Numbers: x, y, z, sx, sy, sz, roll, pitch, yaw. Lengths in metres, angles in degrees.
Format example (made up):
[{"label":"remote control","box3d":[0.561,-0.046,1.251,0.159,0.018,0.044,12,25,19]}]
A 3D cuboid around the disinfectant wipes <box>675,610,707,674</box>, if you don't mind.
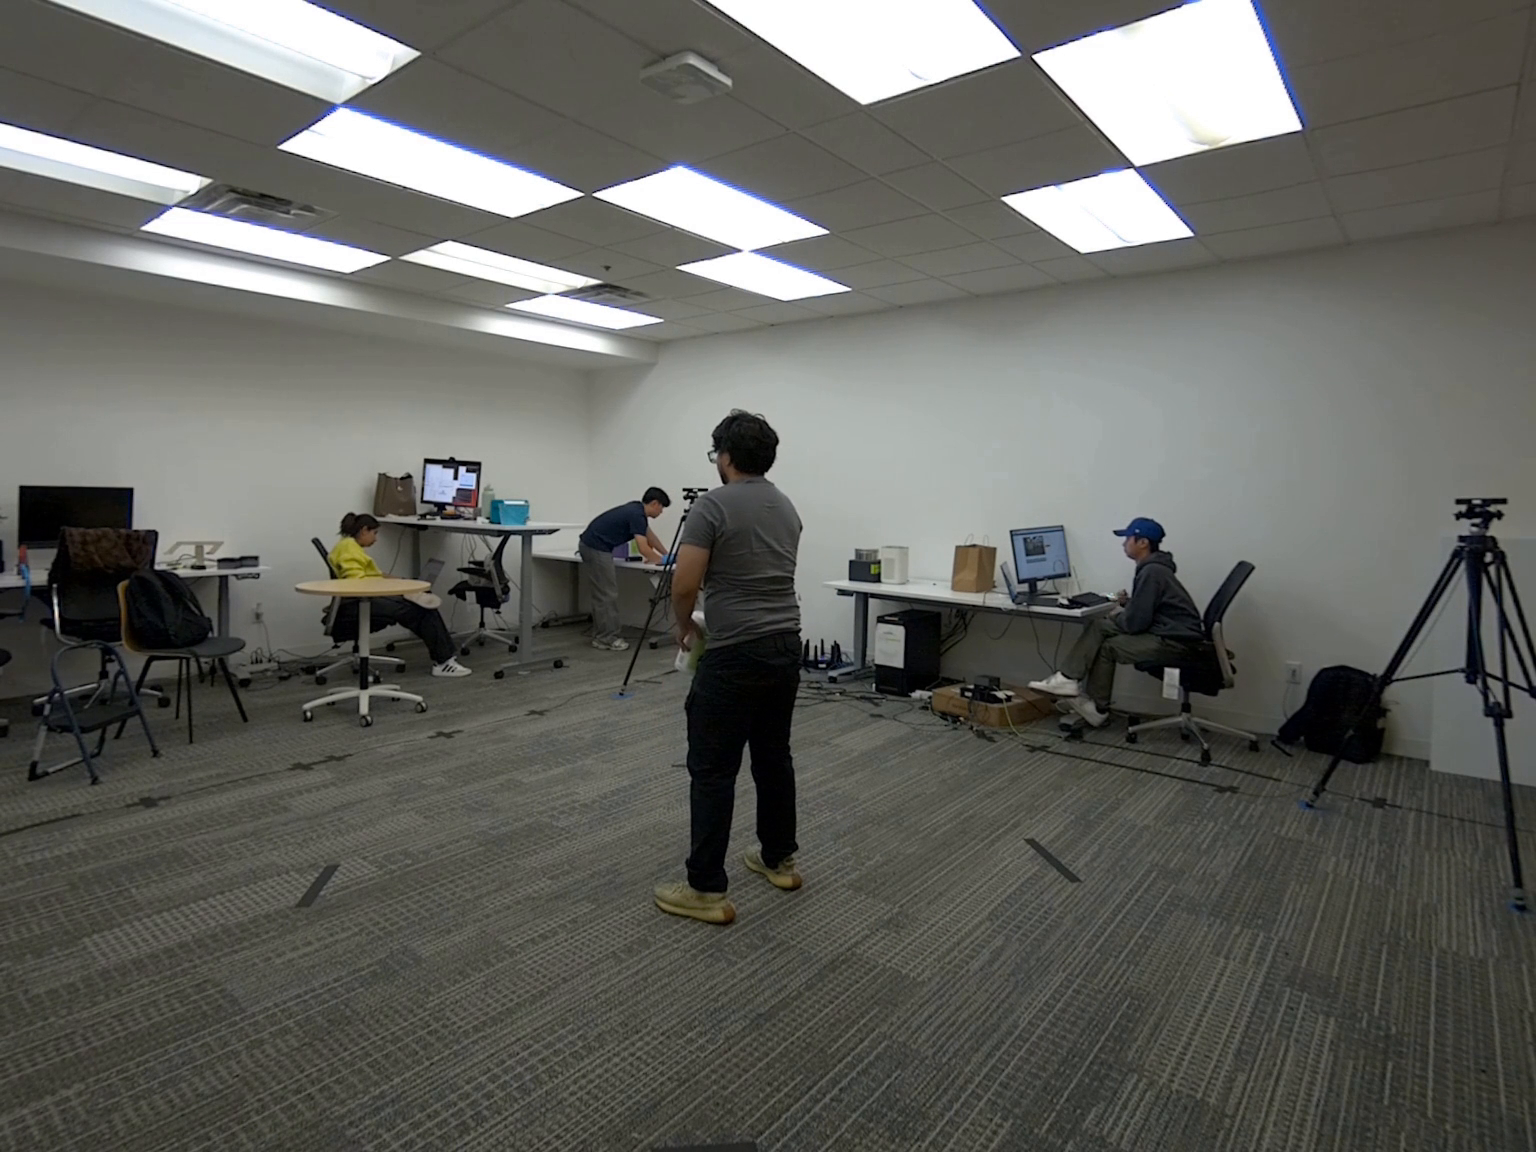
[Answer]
[{"label":"disinfectant wipes","box3d":[-0.266,0.245,3.090,0.117,0.216,0.119,18,9,-5]}]
